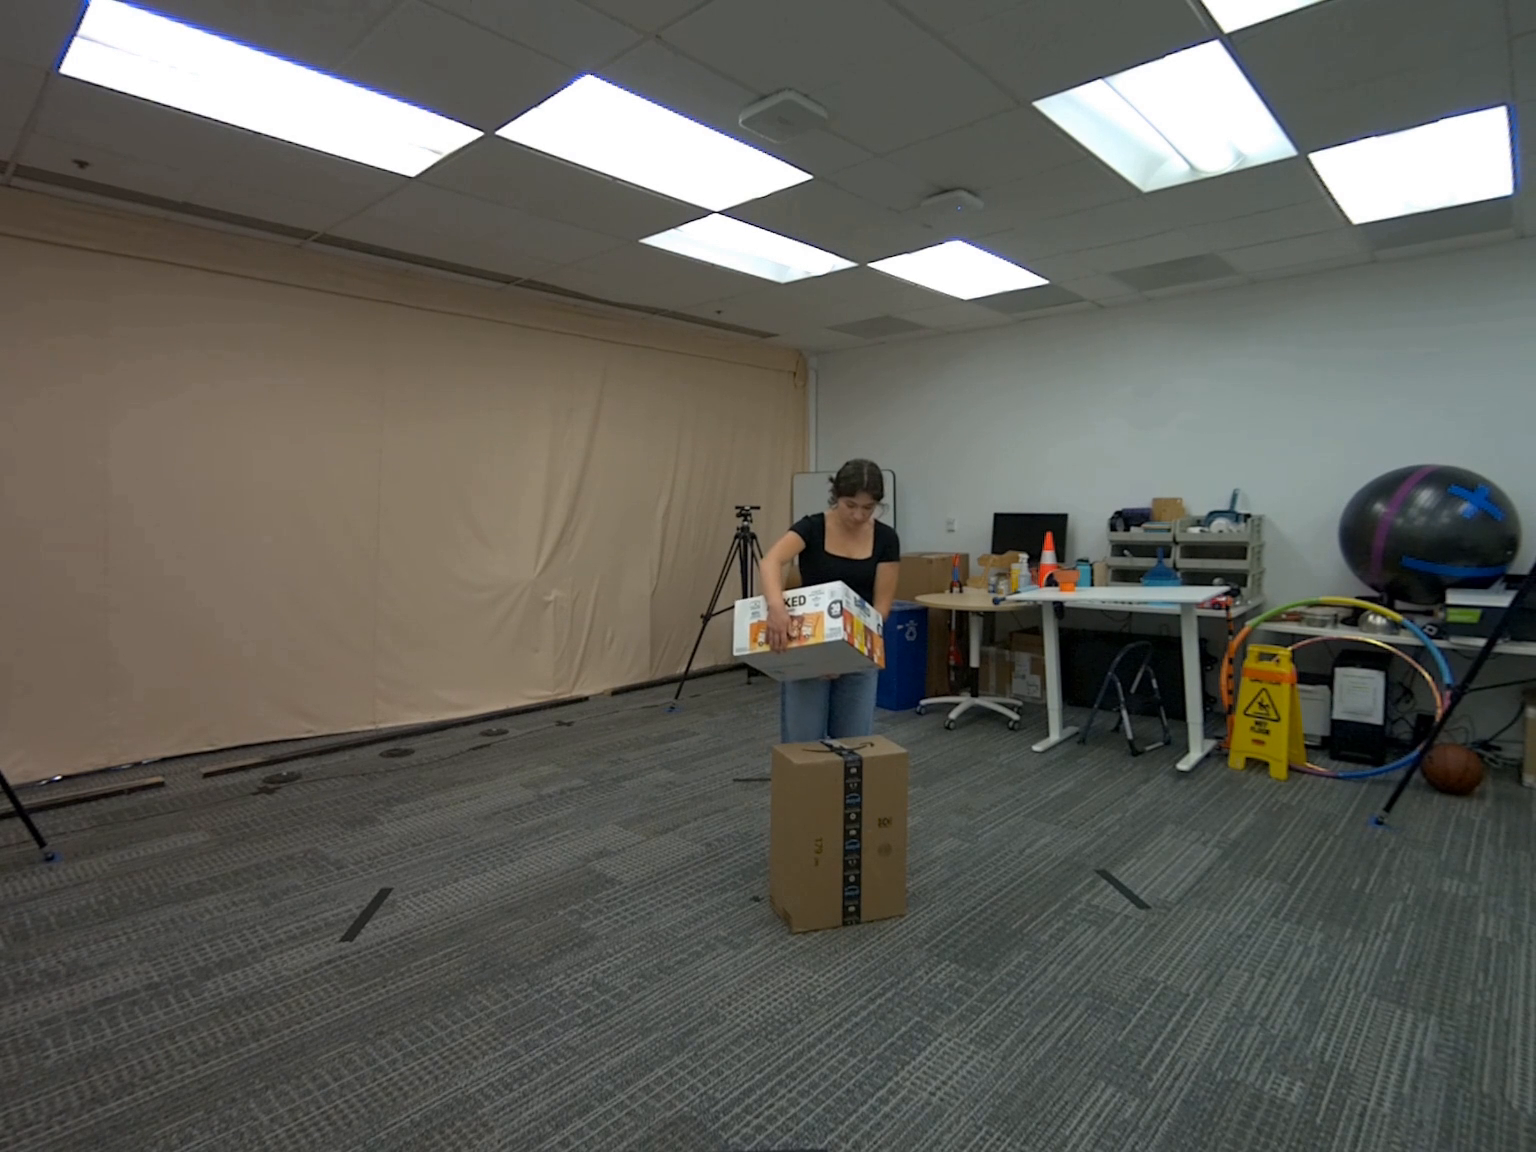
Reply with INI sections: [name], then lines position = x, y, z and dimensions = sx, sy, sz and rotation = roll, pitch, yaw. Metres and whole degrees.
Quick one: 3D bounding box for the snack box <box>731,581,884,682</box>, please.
[snack box]
position = 0.144, 0.205, 2.917
dimensions = 0.414, 0.208, 0.328
rotation = -11, -28, 28
